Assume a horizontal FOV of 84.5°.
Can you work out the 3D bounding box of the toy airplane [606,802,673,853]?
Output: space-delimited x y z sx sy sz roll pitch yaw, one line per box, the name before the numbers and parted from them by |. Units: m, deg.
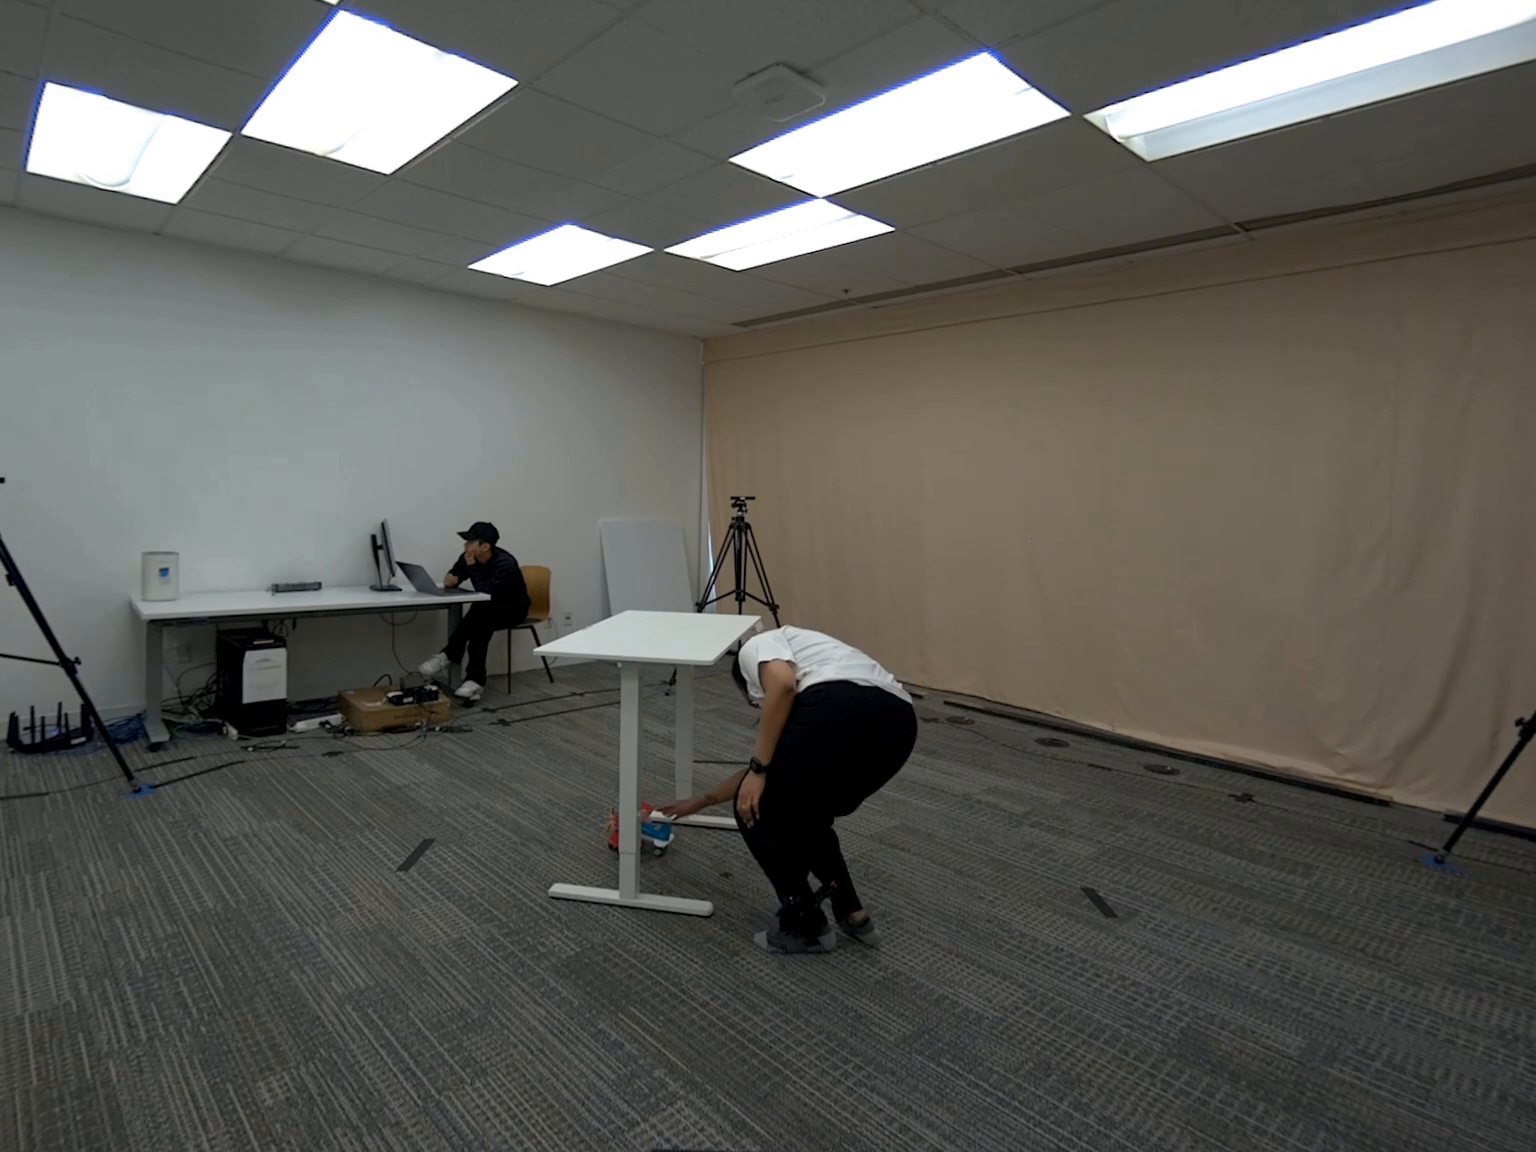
toy airplane | -0.502 1.003 3.318 0.257 0.156 0.253 -1 4 -9
